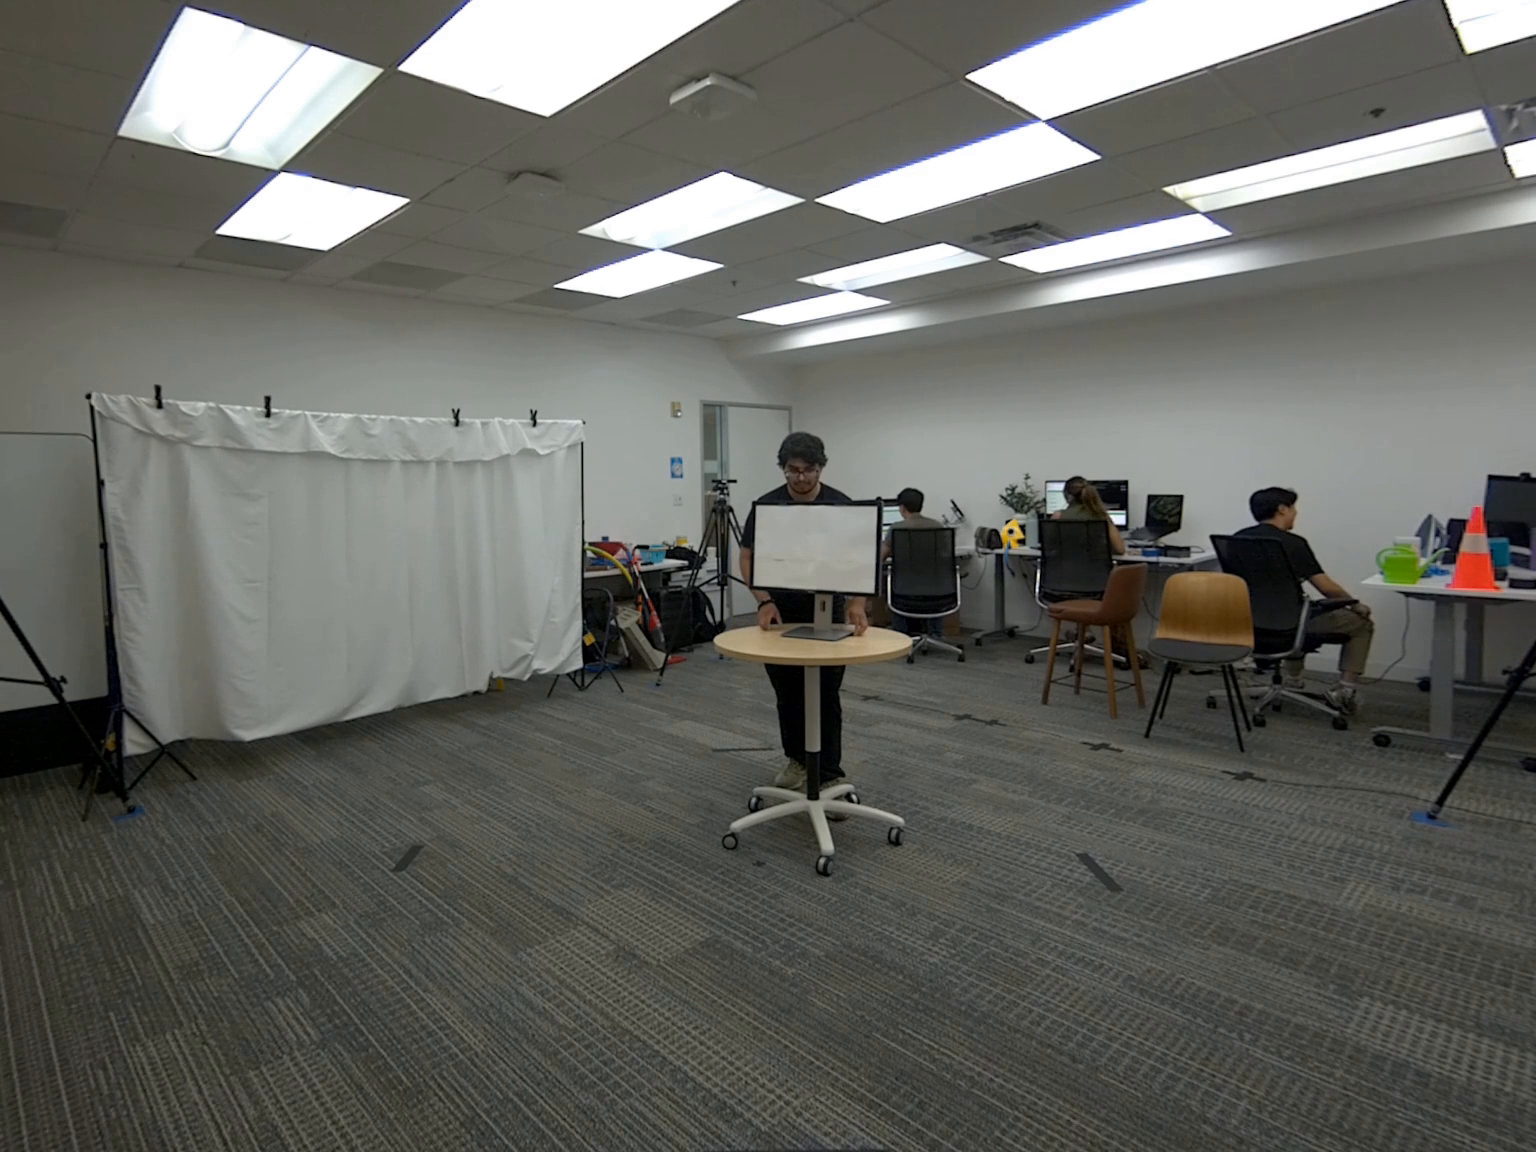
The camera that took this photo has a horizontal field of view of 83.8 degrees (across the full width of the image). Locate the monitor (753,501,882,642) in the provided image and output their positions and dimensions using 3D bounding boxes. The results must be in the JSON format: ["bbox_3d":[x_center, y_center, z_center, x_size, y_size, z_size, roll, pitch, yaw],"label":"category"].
[{"bbox_3d":[0.215,-0.027,3.415,0.581,0.553,0.205,2,3,31],"label":"monitor"}]
